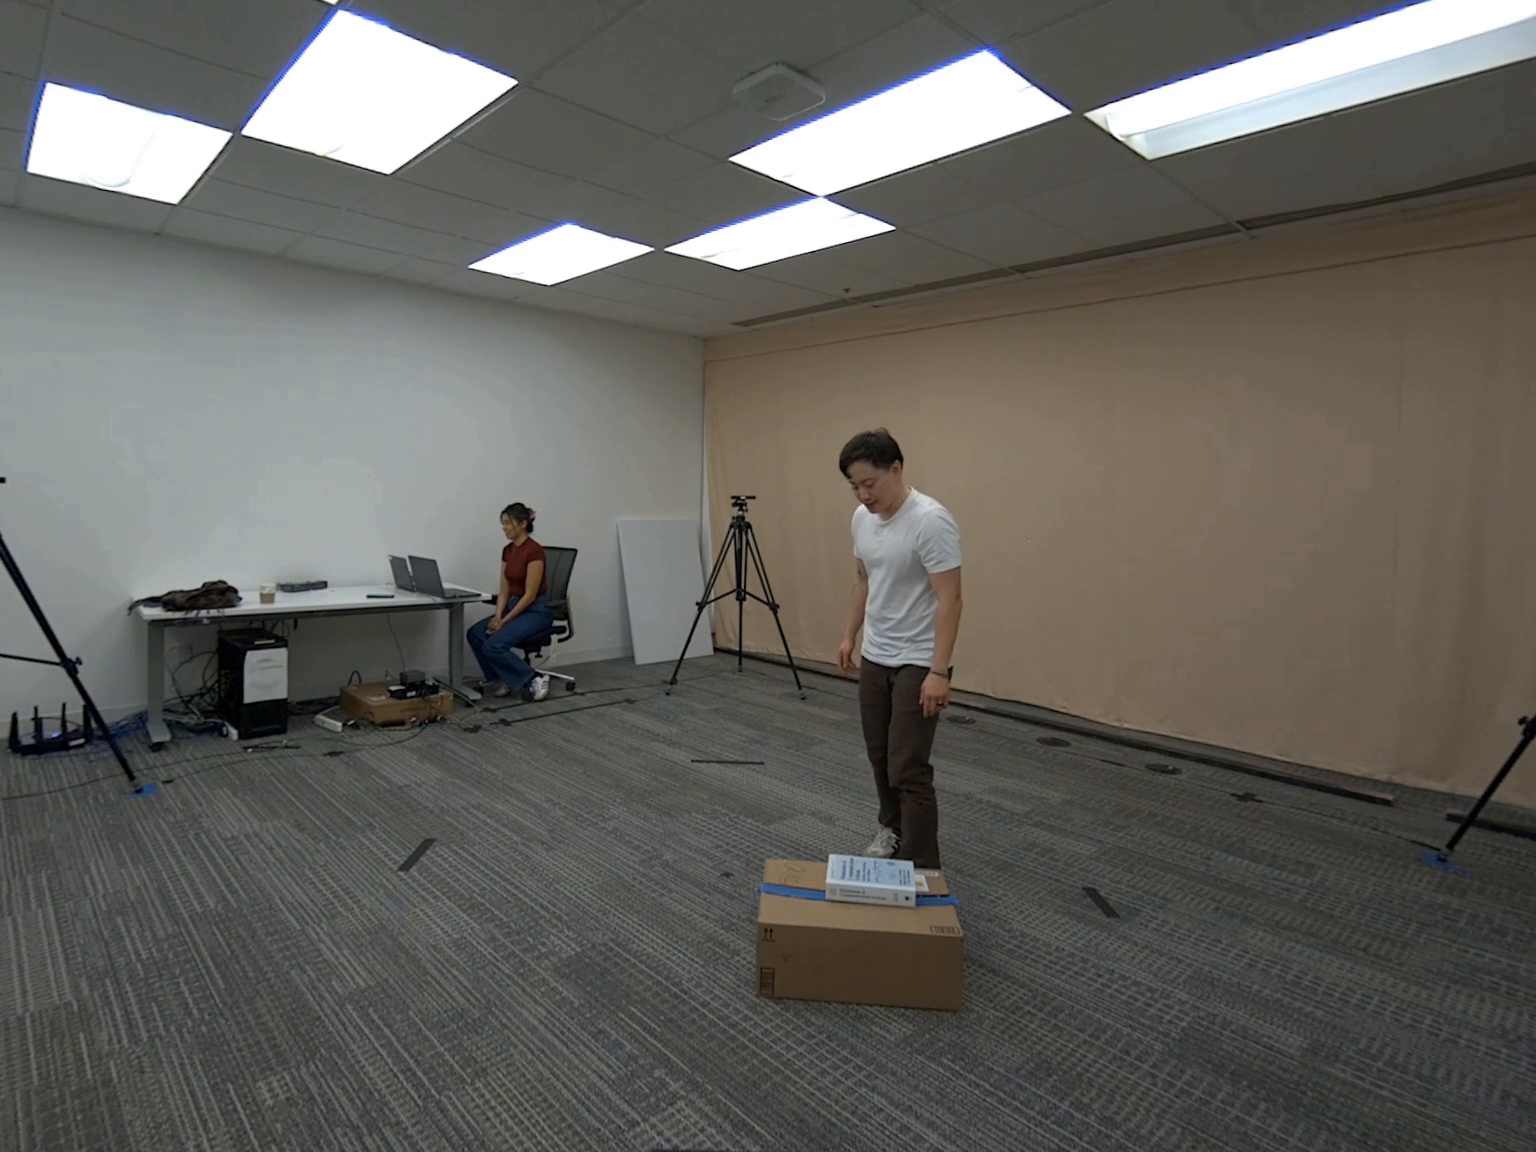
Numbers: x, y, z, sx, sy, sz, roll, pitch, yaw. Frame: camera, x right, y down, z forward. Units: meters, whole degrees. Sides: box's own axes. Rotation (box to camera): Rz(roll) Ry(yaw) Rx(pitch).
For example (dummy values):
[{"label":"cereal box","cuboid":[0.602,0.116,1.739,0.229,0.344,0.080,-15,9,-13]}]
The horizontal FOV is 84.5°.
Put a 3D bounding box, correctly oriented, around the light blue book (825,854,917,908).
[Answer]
[{"label":"light blue book","cuboid":[0.307,0.932,2.550,0.263,0.059,0.190,2,6,9]}]
